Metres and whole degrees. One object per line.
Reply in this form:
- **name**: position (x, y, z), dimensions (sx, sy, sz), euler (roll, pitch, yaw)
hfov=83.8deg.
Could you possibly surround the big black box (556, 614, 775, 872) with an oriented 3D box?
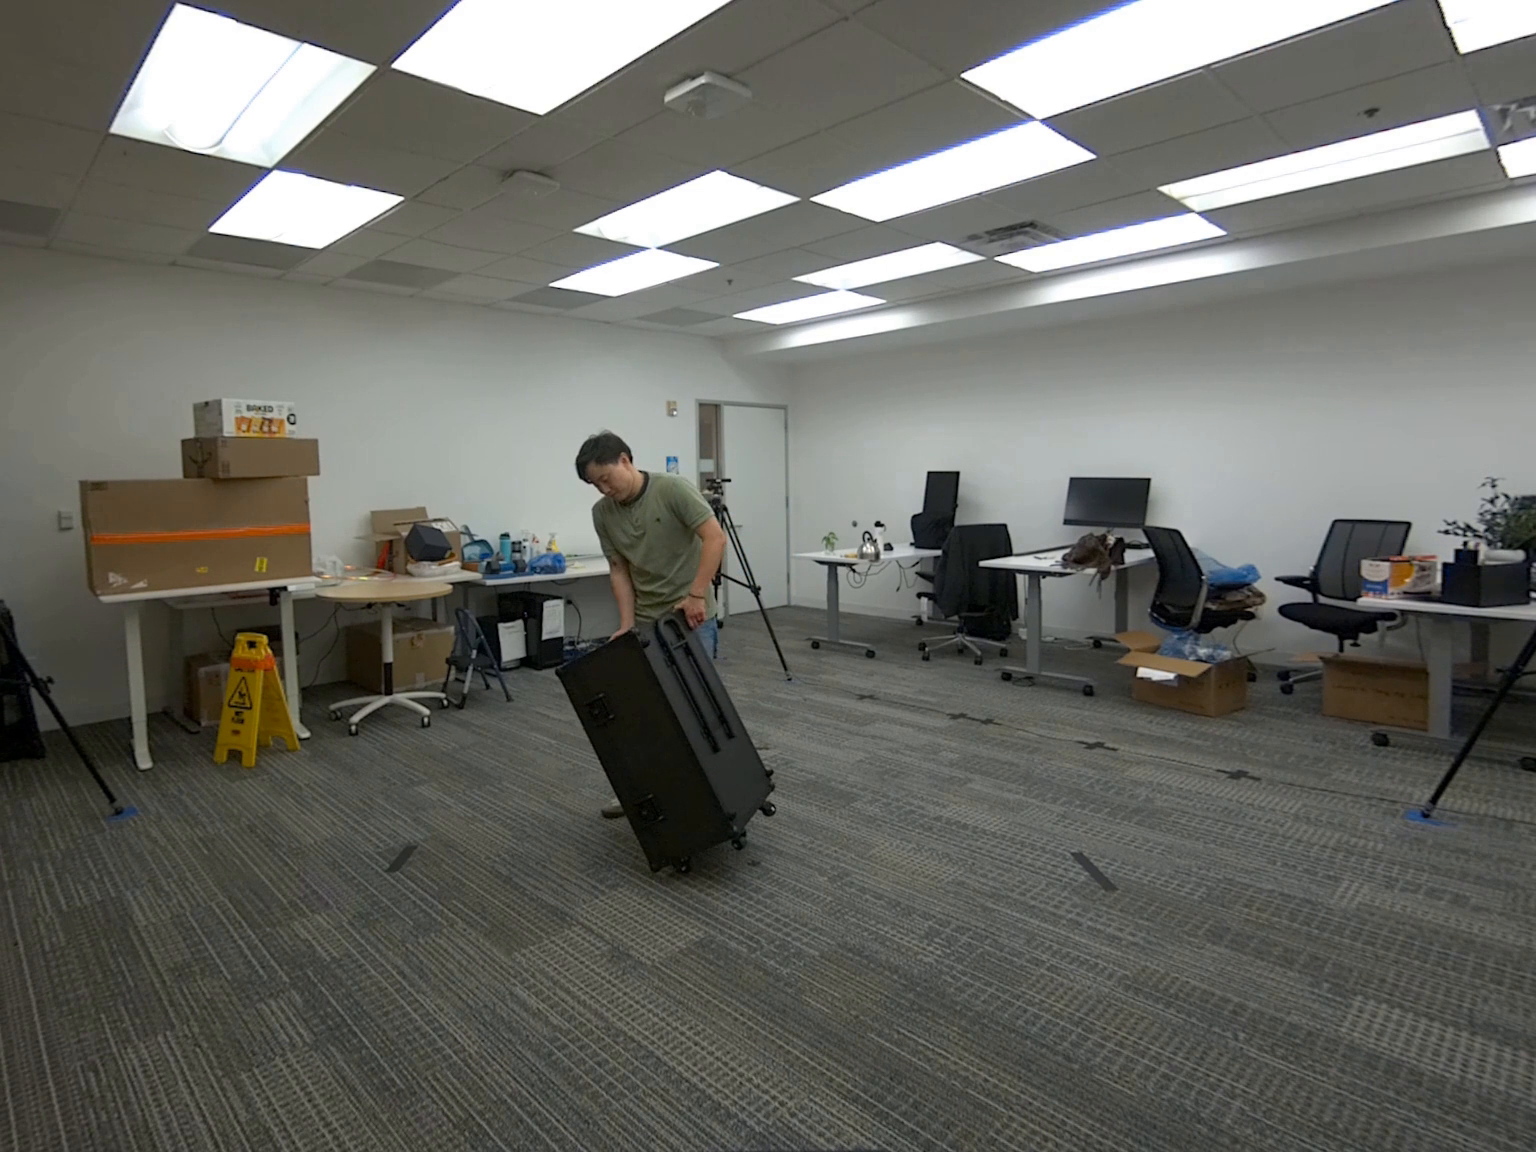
- **big black box**: position (-0.338, 0.608, 3.171), dimensions (0.399, 0.866, 0.514), euler (-28, -4, 18)
